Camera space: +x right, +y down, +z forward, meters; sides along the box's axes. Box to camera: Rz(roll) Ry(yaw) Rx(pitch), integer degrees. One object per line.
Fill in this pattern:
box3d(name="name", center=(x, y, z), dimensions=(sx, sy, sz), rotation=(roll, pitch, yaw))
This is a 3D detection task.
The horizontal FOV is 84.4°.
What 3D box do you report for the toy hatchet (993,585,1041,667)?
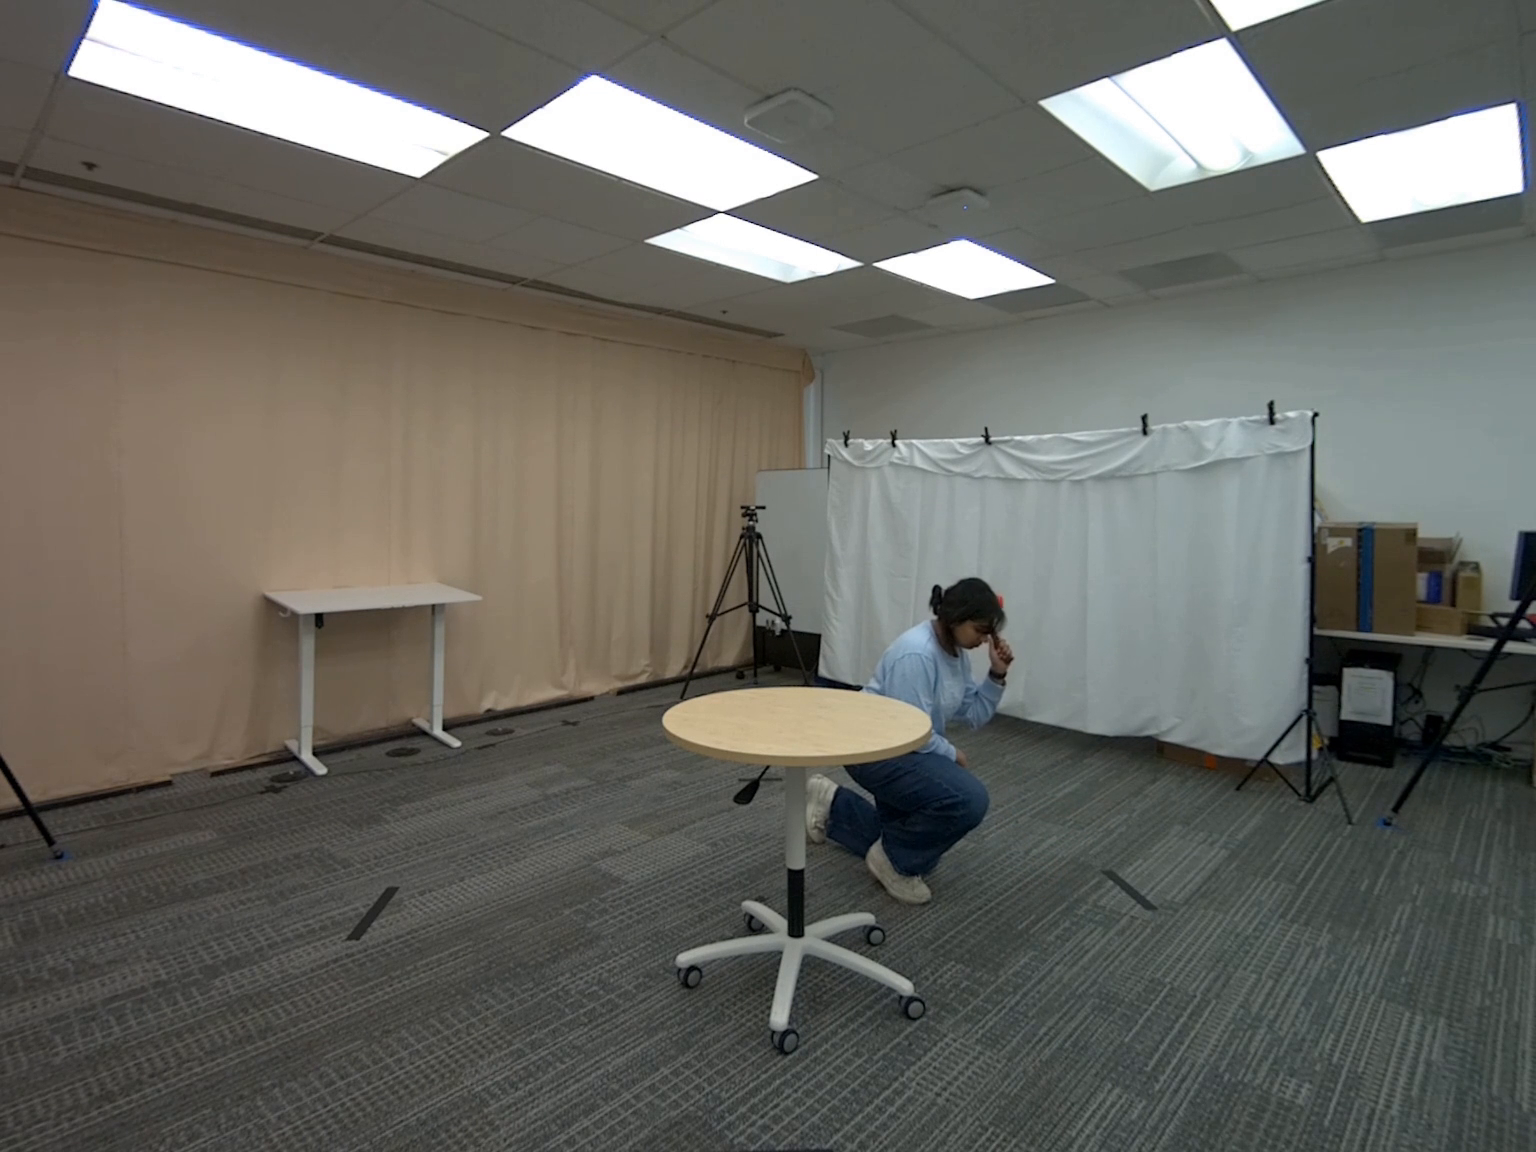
box3d(name="toy hatchet", center=(0.865, 0.183, 3.104), dimensions=(0.029, 0.275, 0.132), rotation=(-3, -29, -49))
